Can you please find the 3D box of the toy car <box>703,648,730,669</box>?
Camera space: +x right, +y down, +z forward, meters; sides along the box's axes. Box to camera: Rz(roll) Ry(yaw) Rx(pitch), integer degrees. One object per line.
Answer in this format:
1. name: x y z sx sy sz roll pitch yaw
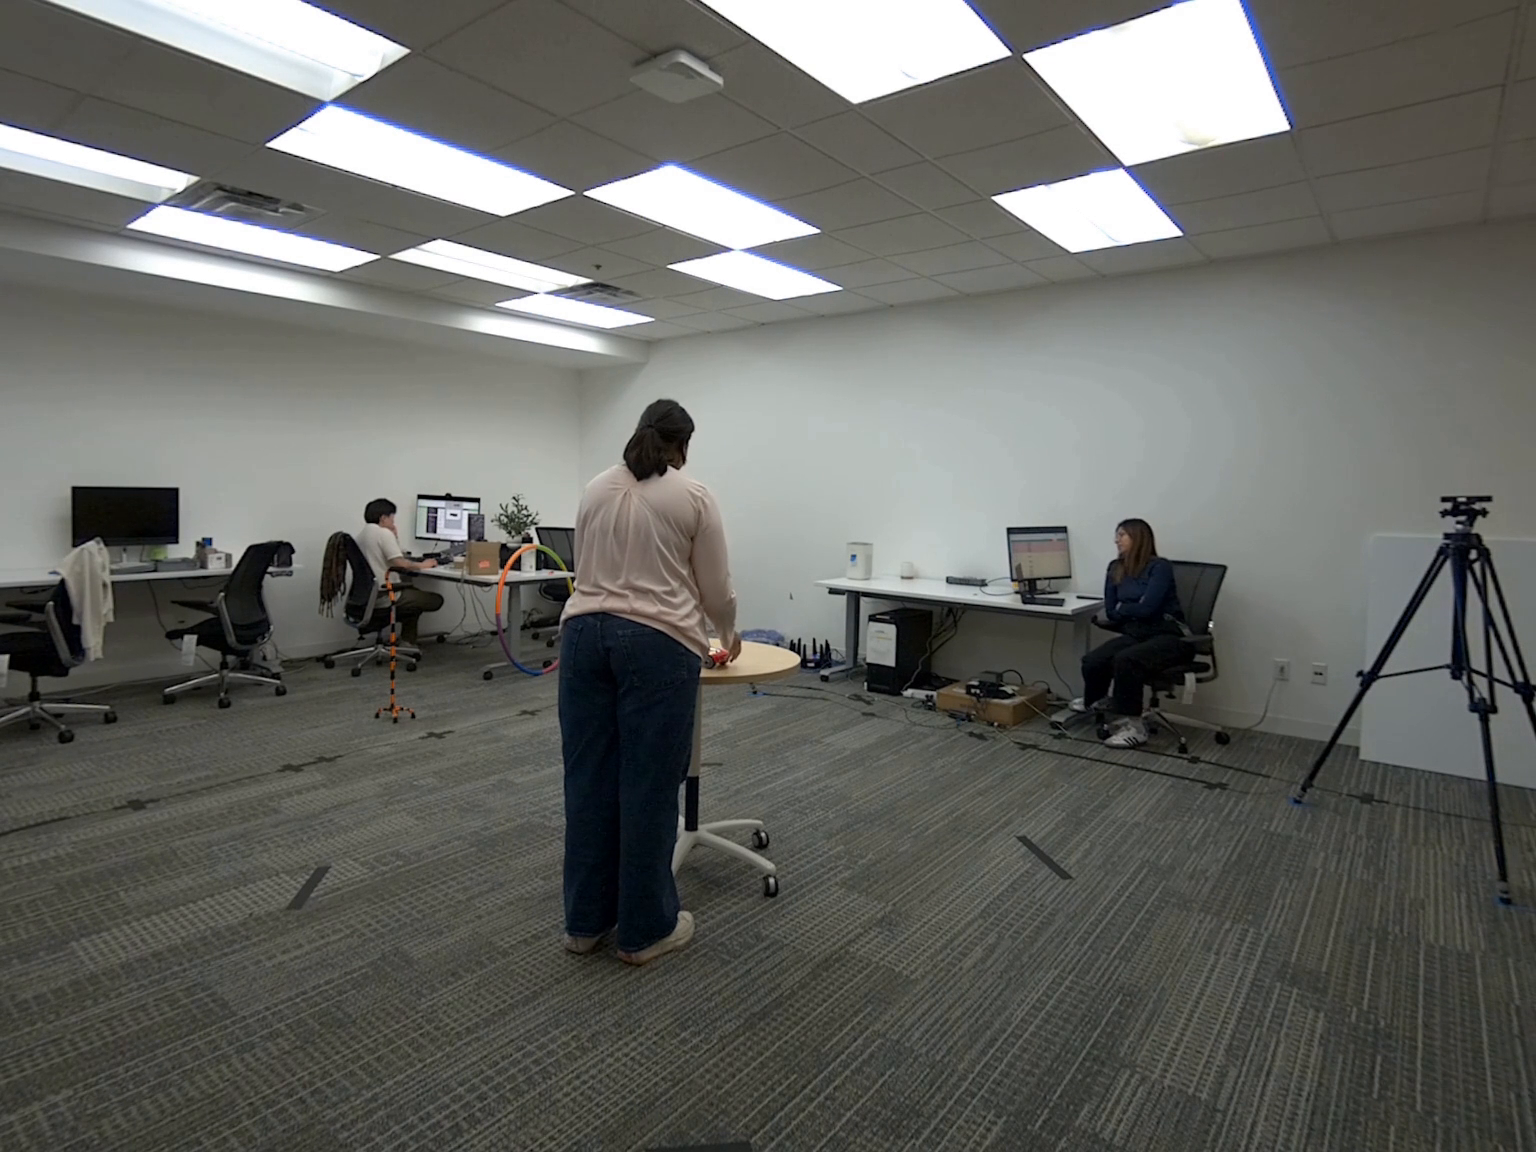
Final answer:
1. toy car: -0.266 0.267 2.936 0.263 0.083 0.127 15 10 28
